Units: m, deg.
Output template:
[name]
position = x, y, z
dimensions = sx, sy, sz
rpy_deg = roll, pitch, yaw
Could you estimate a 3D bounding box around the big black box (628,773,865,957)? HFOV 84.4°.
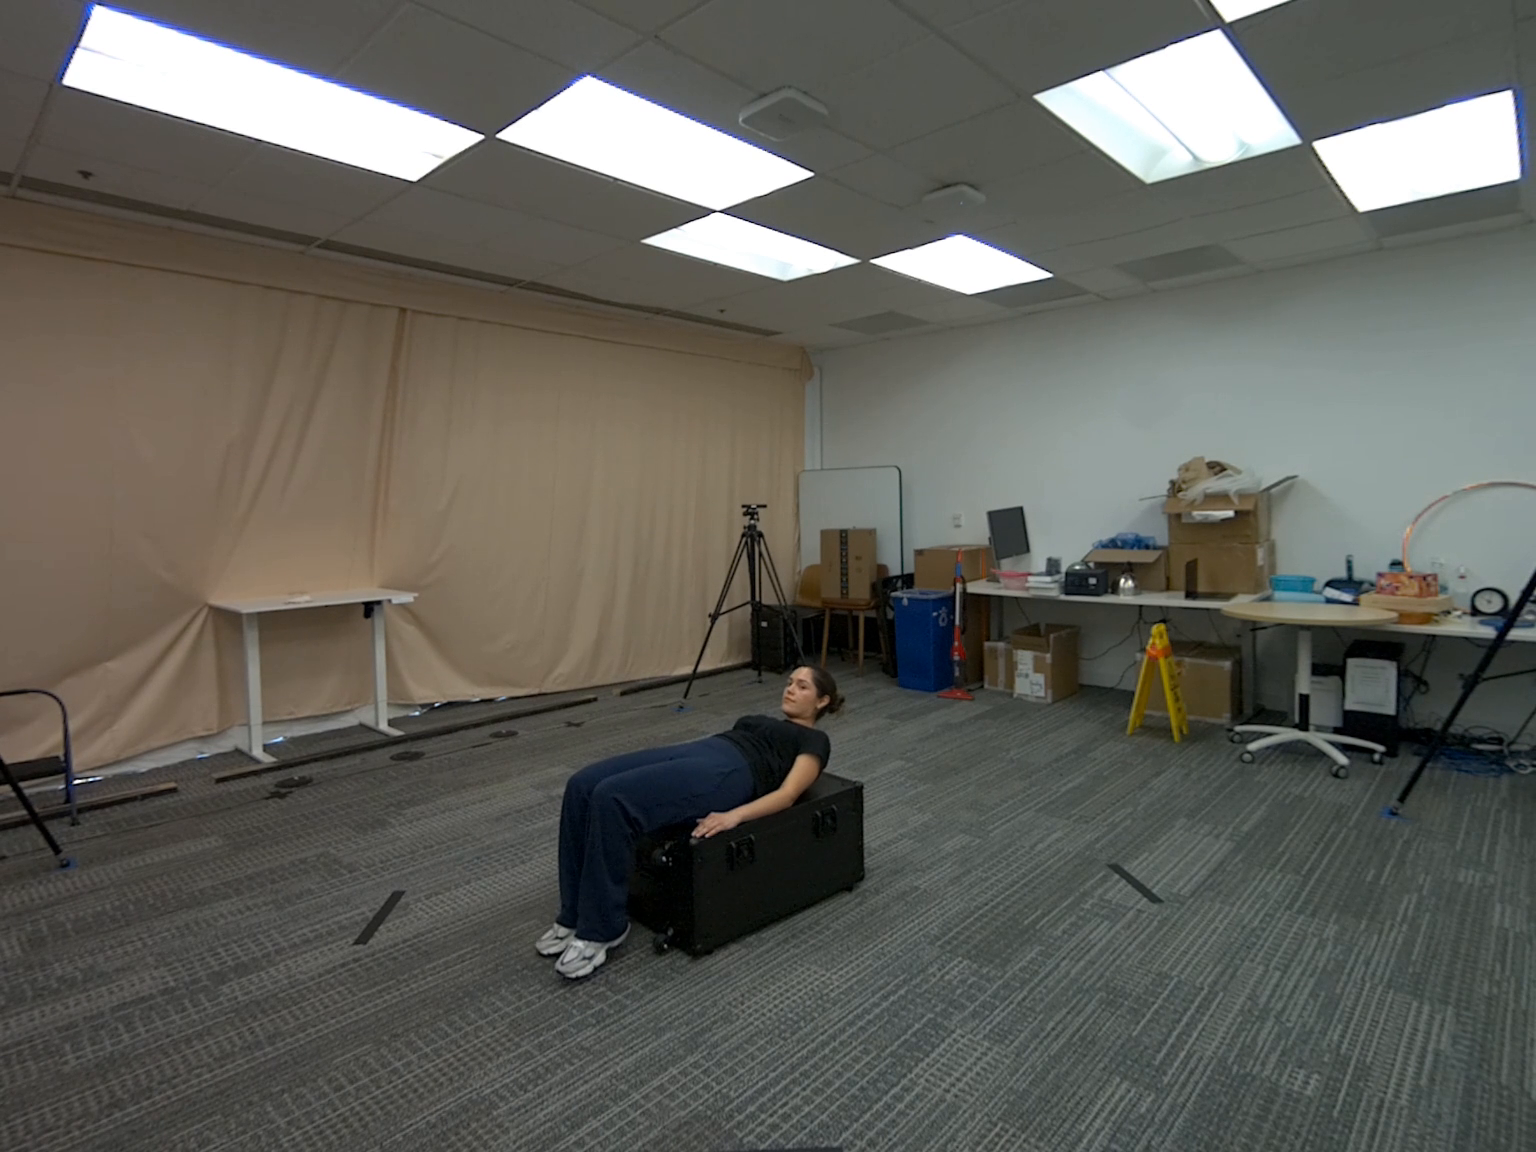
[big black box]
position = -0.057, 0.957, 3.003
dimensions = 0.836, 0.395, 0.538
rpy_deg = -7, 7, -41
